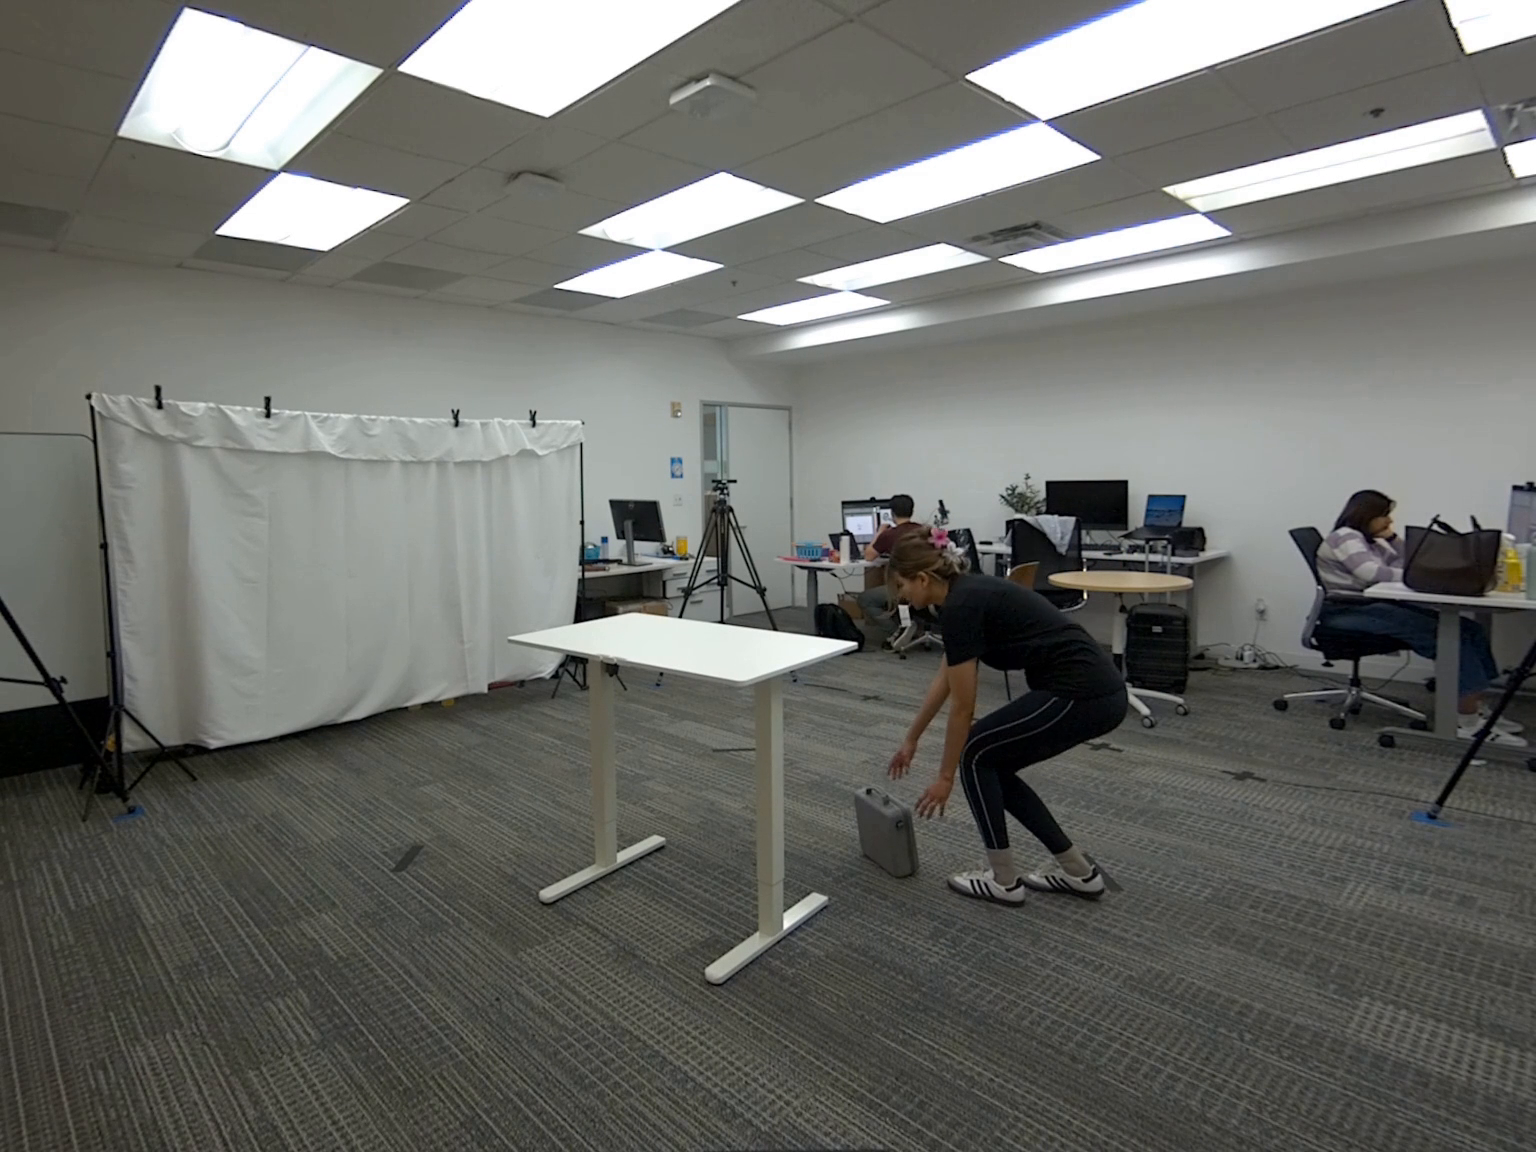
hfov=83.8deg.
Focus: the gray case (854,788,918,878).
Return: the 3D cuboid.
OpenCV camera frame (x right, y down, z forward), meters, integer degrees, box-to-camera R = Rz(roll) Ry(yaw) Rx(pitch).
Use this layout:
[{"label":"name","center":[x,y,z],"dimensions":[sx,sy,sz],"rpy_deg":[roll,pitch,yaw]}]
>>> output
[{"label":"gray case","center":[0.427,0.905,3.074],"dimensions":[0.102,0.259,0.263],"rpy_deg":[-10,7,-22]}]
